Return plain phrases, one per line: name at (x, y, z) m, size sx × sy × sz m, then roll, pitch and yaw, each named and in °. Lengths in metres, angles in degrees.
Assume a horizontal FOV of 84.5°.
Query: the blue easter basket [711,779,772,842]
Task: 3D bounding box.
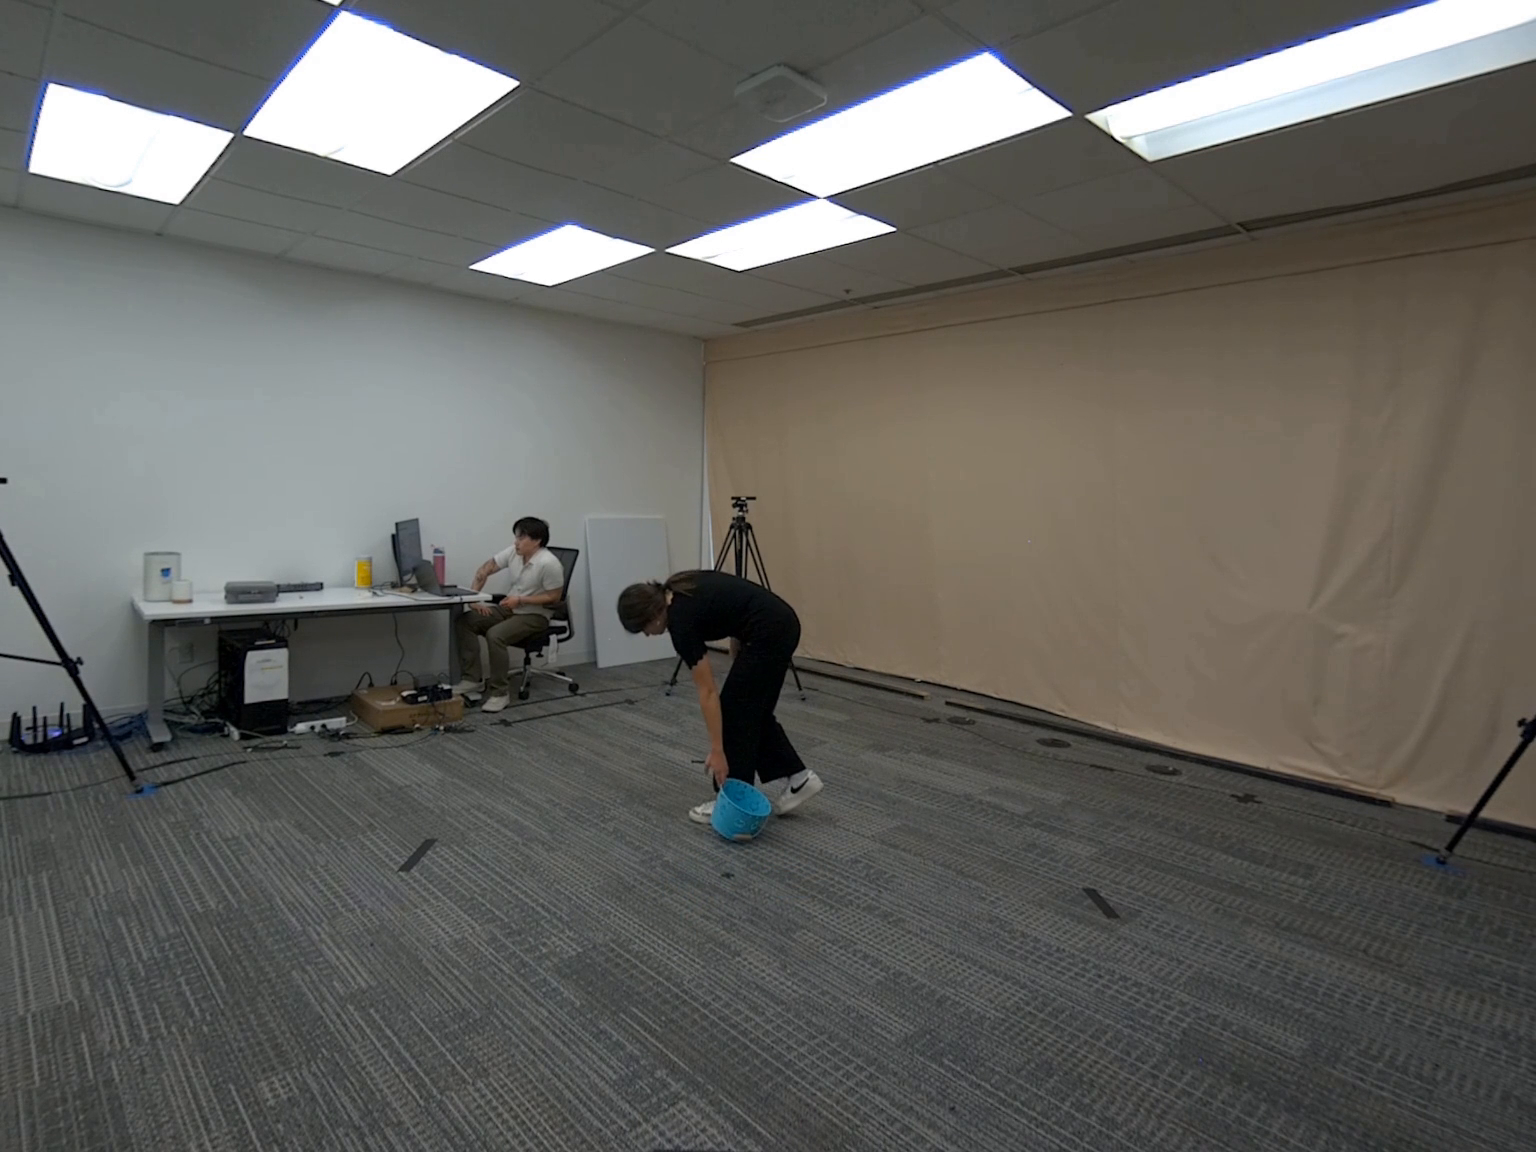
blue easter basket at (-0.131, 0.970, 3.450) m, size 0.242 × 0.155 × 0.246 m, roll 23°, pitch 13°, yaw -7°
